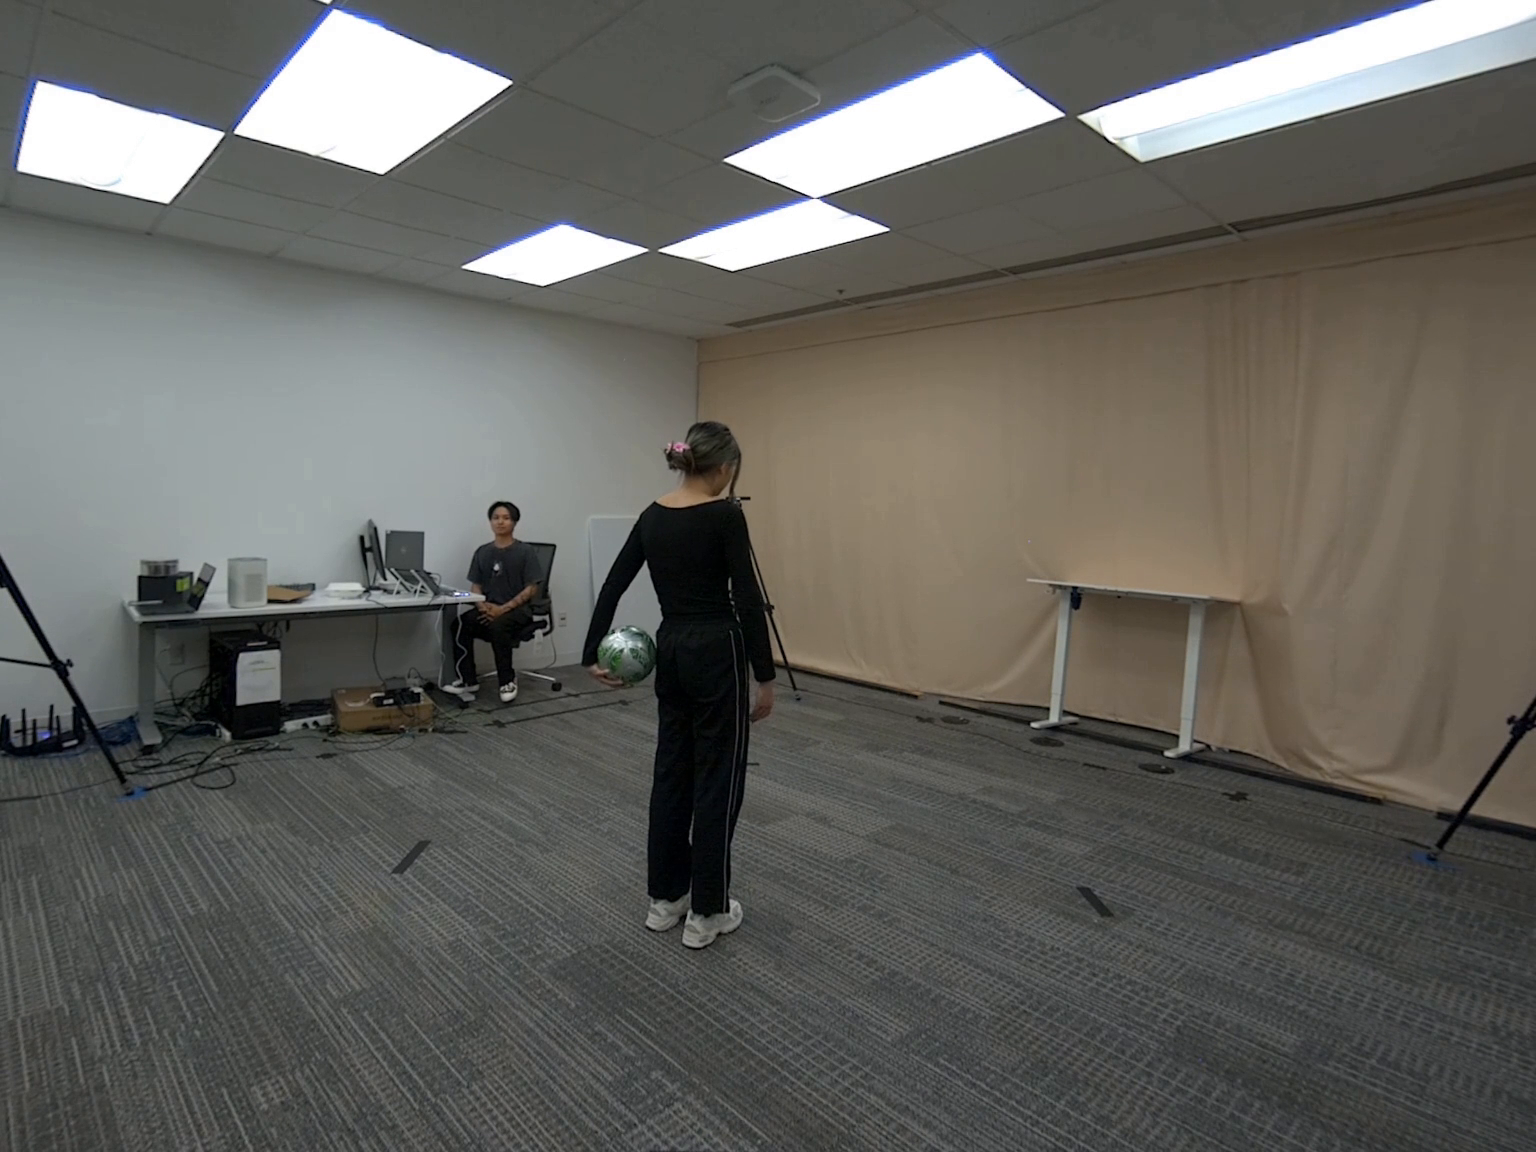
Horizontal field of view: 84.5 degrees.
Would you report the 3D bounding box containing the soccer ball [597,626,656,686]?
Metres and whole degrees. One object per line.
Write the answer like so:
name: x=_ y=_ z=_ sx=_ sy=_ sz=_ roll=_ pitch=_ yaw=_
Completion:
soccer ball: x=-0.443 y=0.251 z=2.655 sx=0.187 sy=0.187 sz=0.188 roll=1 pitch=4 yaw=-1
